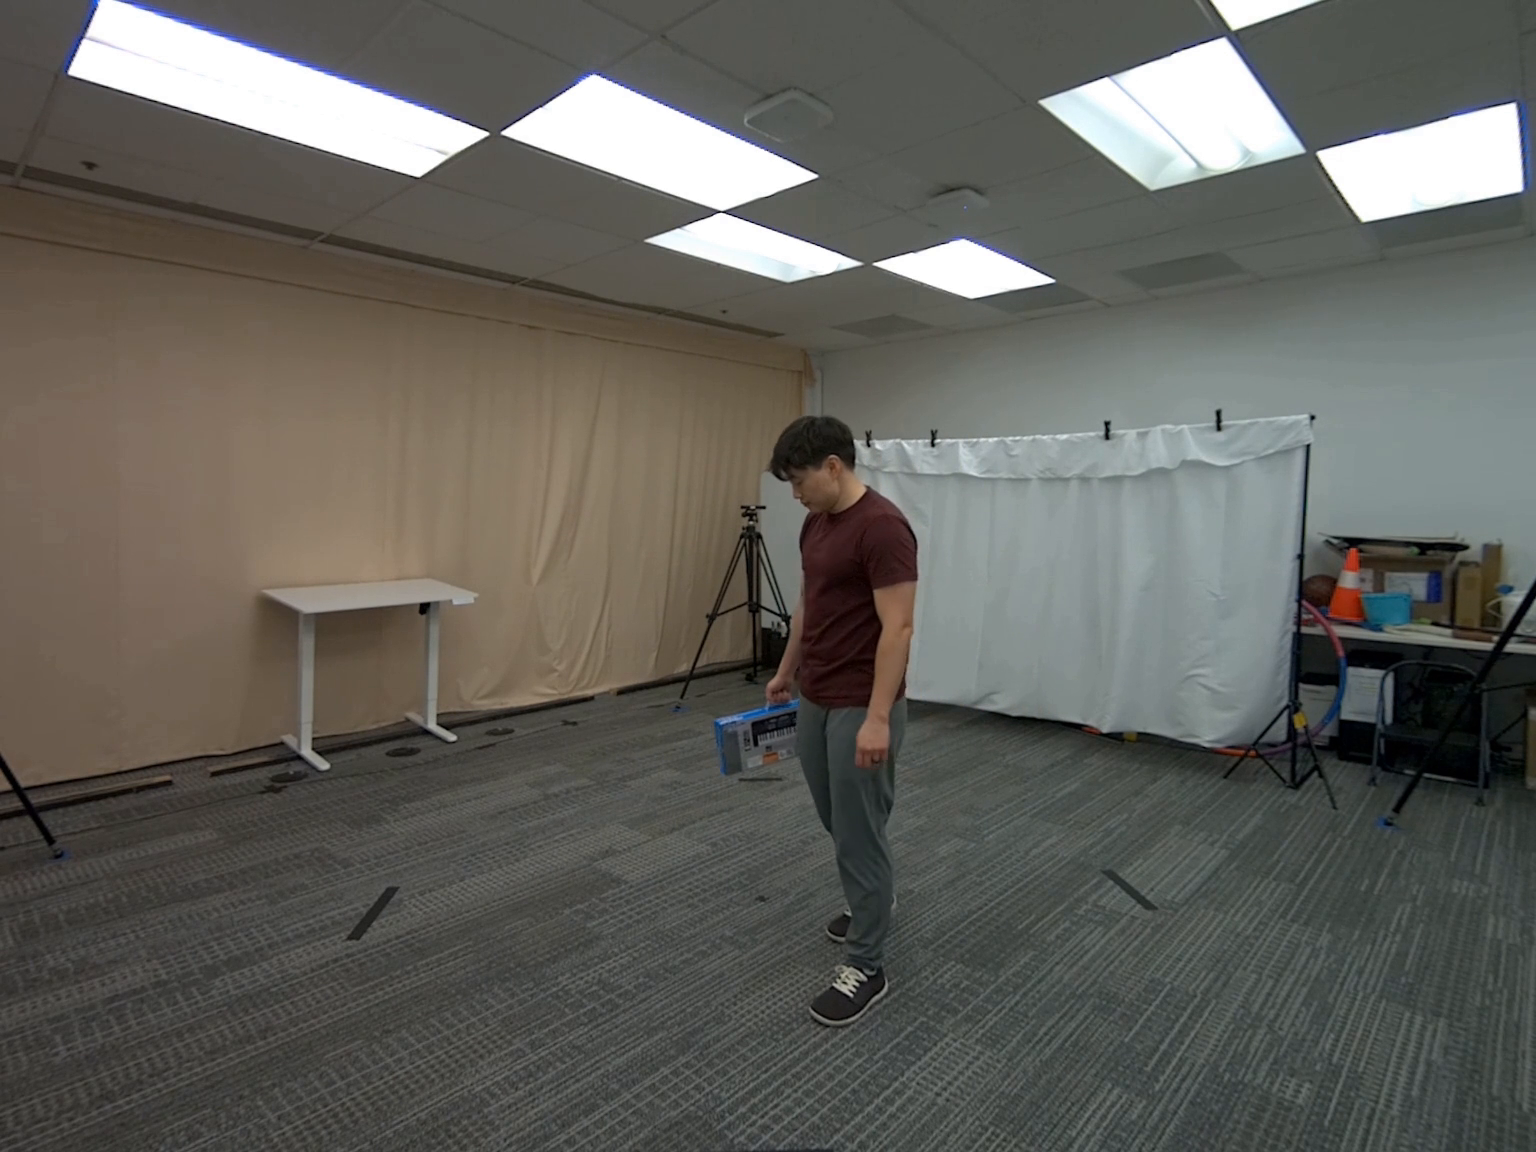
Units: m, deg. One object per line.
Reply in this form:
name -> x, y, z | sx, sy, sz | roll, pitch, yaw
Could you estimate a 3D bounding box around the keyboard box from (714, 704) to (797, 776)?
keyboard box -> 0.051, 0.509, 2.733 | 0.429, 0.175, 0.060 | -10, 10, -19
